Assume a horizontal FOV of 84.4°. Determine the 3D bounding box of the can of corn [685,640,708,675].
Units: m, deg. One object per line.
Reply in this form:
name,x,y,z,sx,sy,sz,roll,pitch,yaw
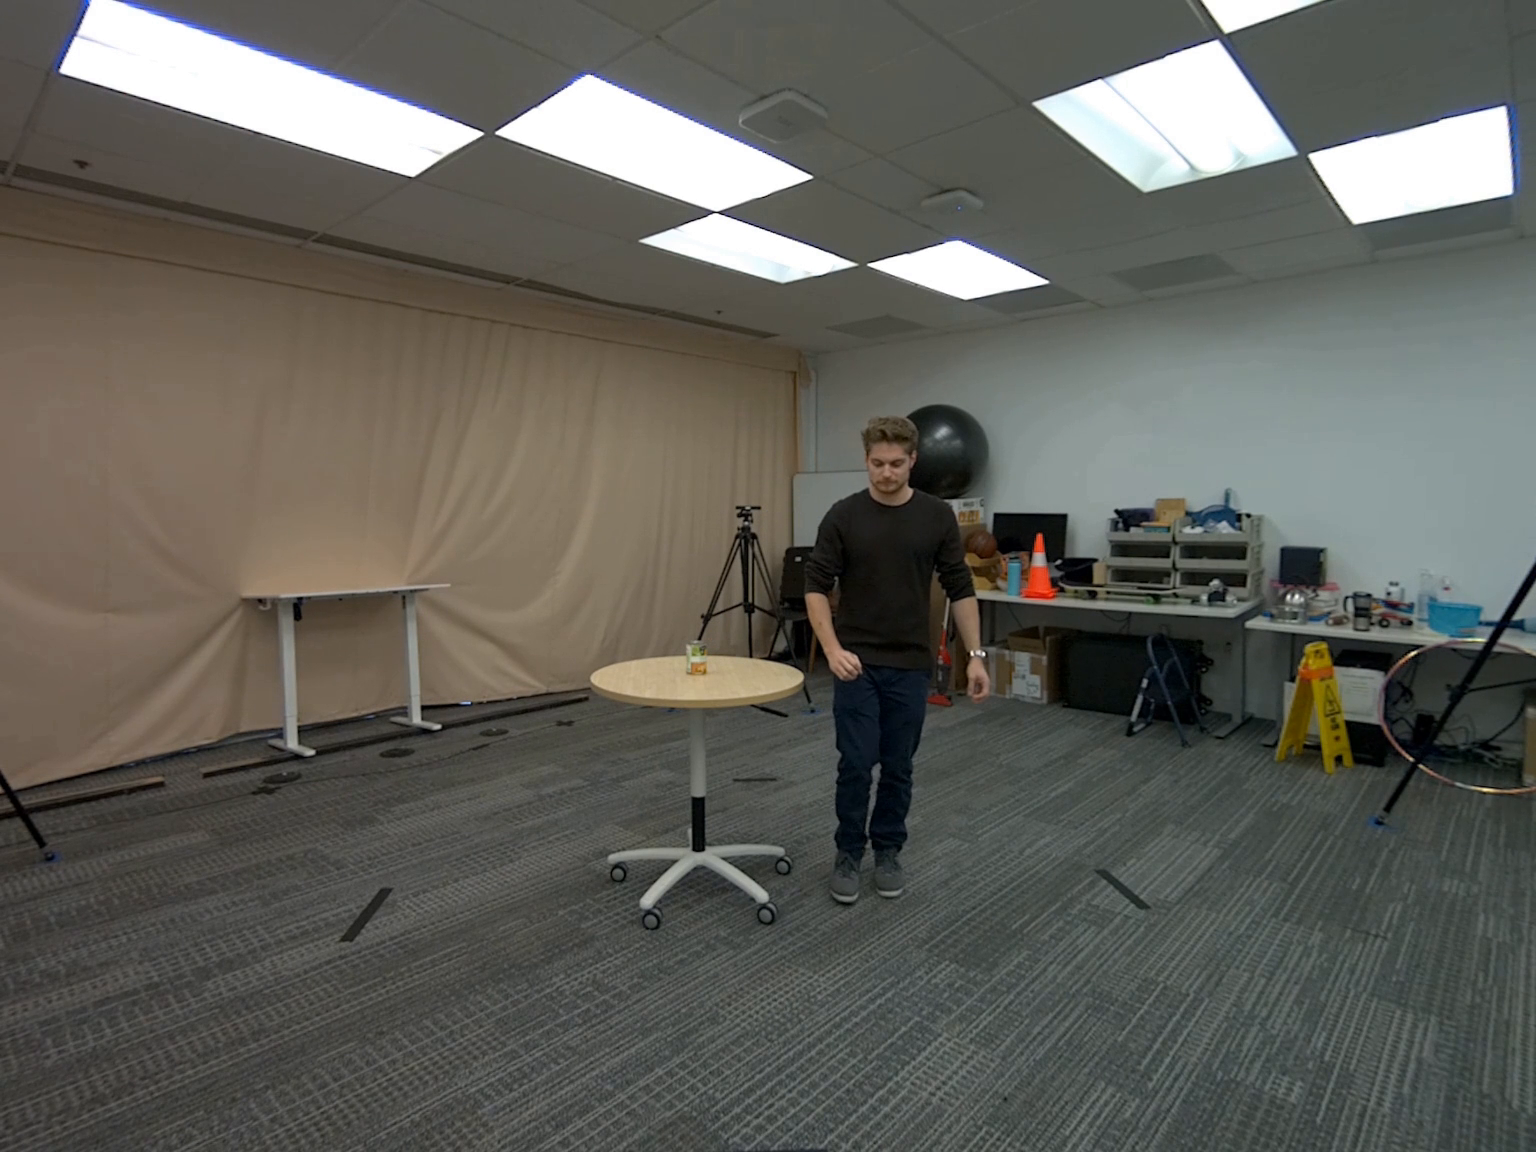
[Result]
can of corn,-0.256,0.303,3.072,0.074,0.111,0.074,2,2,-2
